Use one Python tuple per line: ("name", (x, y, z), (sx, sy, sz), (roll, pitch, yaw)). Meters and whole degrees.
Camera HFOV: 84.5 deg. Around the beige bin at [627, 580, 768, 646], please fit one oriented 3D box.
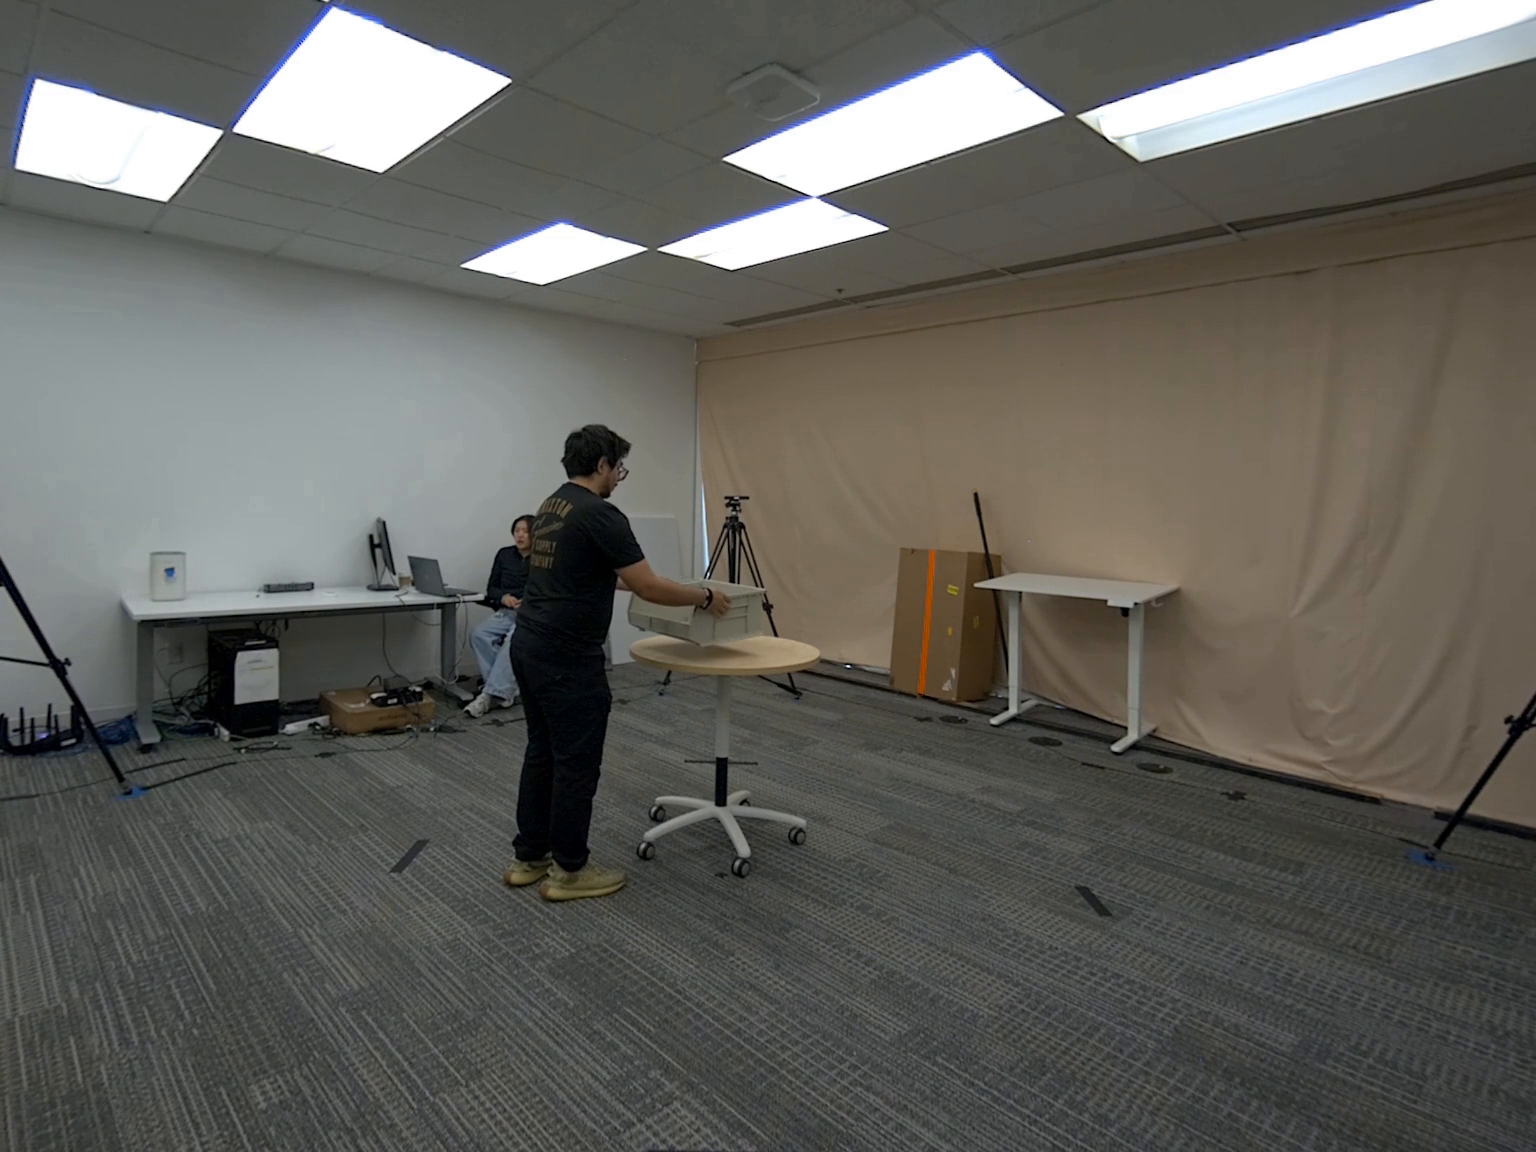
("beige bin", (-0.283, 0.139, 3.311), (0.369, 0.188, 0.433), (-3, 6, -40))
